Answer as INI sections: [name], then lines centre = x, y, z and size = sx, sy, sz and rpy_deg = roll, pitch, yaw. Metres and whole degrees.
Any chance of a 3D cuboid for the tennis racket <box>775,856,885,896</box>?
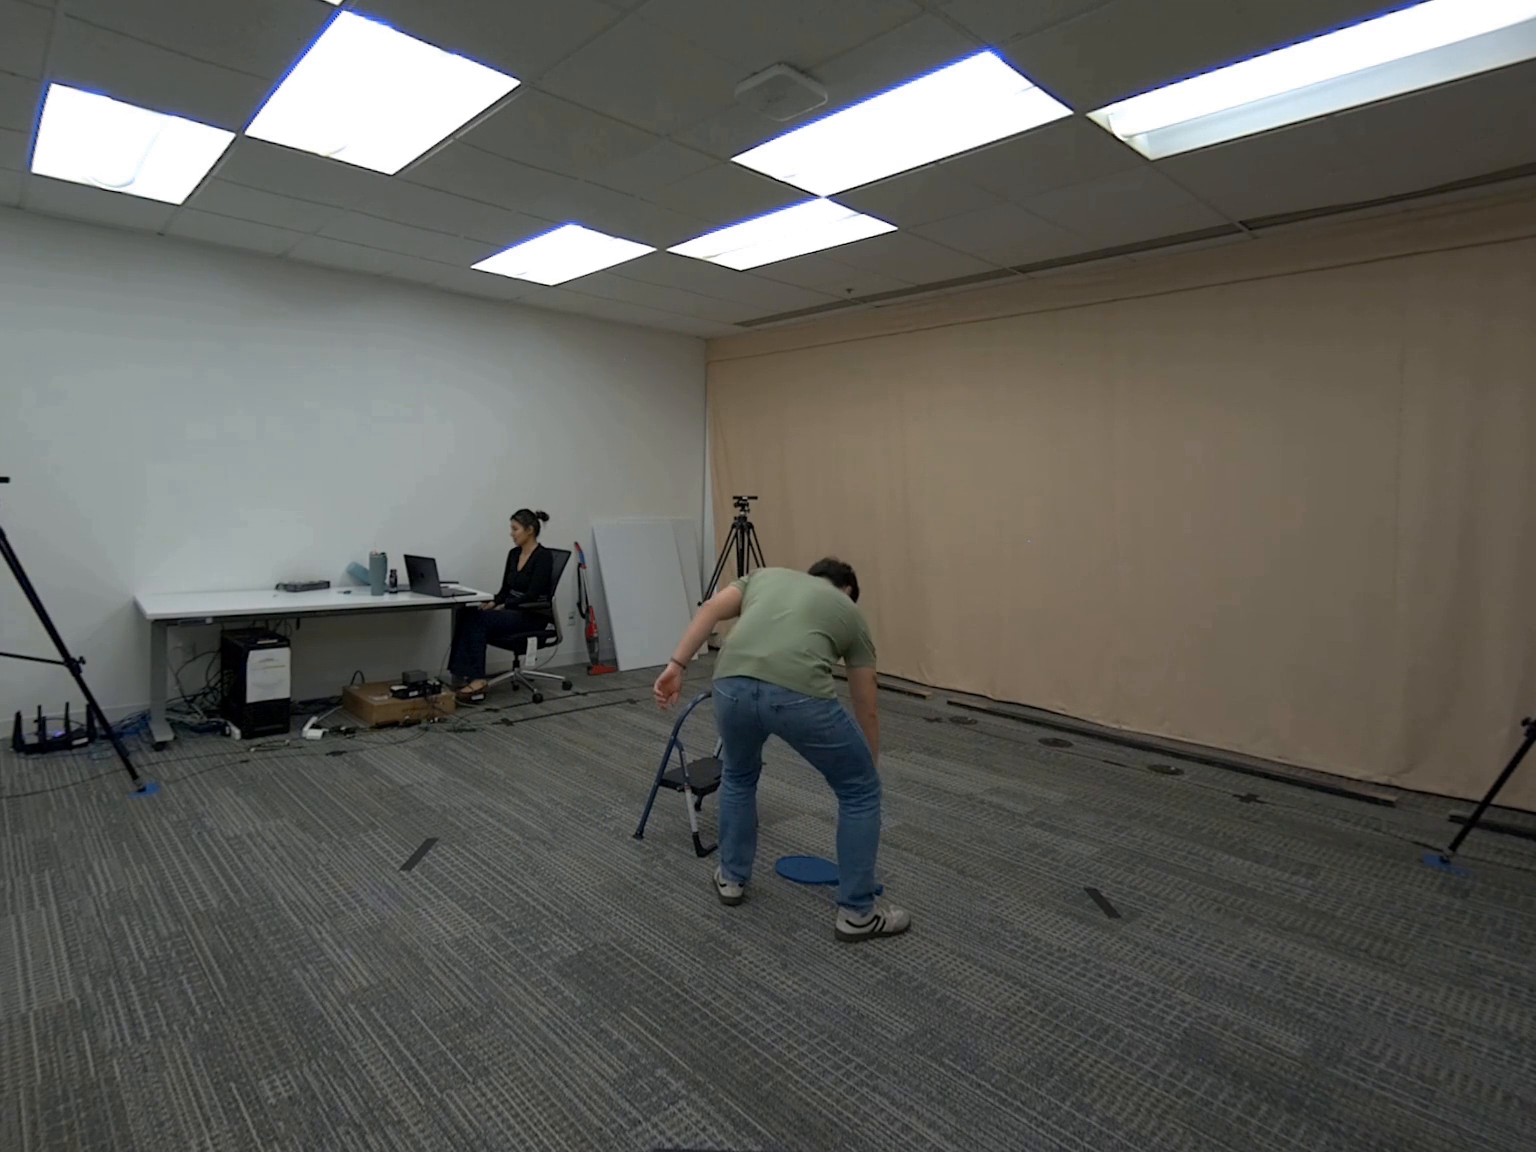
[tennis racket]
centre = 0.213, 1.098, 3.098
size = 0.443, 0.031, 0.209
rpy_deg = 3, 6, 34
